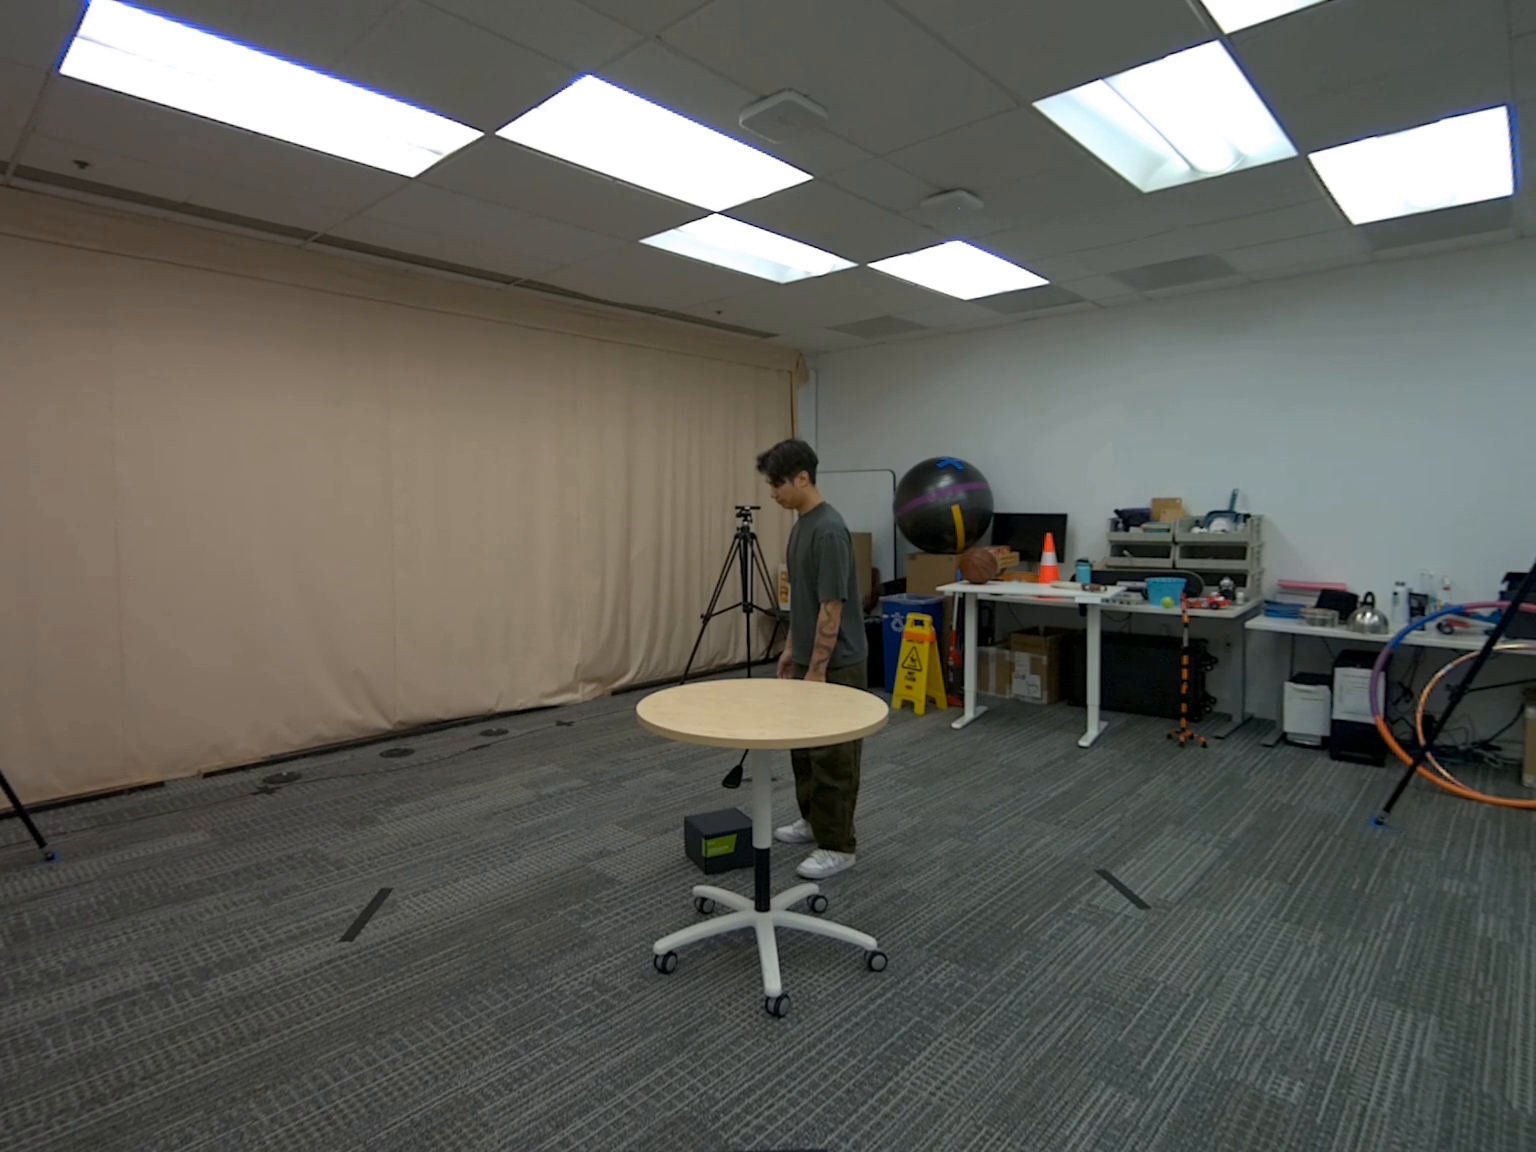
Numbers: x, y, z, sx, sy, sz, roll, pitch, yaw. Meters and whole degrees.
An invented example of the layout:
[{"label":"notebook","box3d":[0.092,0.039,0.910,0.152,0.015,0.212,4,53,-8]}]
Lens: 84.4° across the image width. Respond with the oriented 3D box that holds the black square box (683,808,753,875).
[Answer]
[{"label":"black square box","box3d":[-0.183,1.035,3.313,0.222,0.155,0.223,-3,5,-27]}]
